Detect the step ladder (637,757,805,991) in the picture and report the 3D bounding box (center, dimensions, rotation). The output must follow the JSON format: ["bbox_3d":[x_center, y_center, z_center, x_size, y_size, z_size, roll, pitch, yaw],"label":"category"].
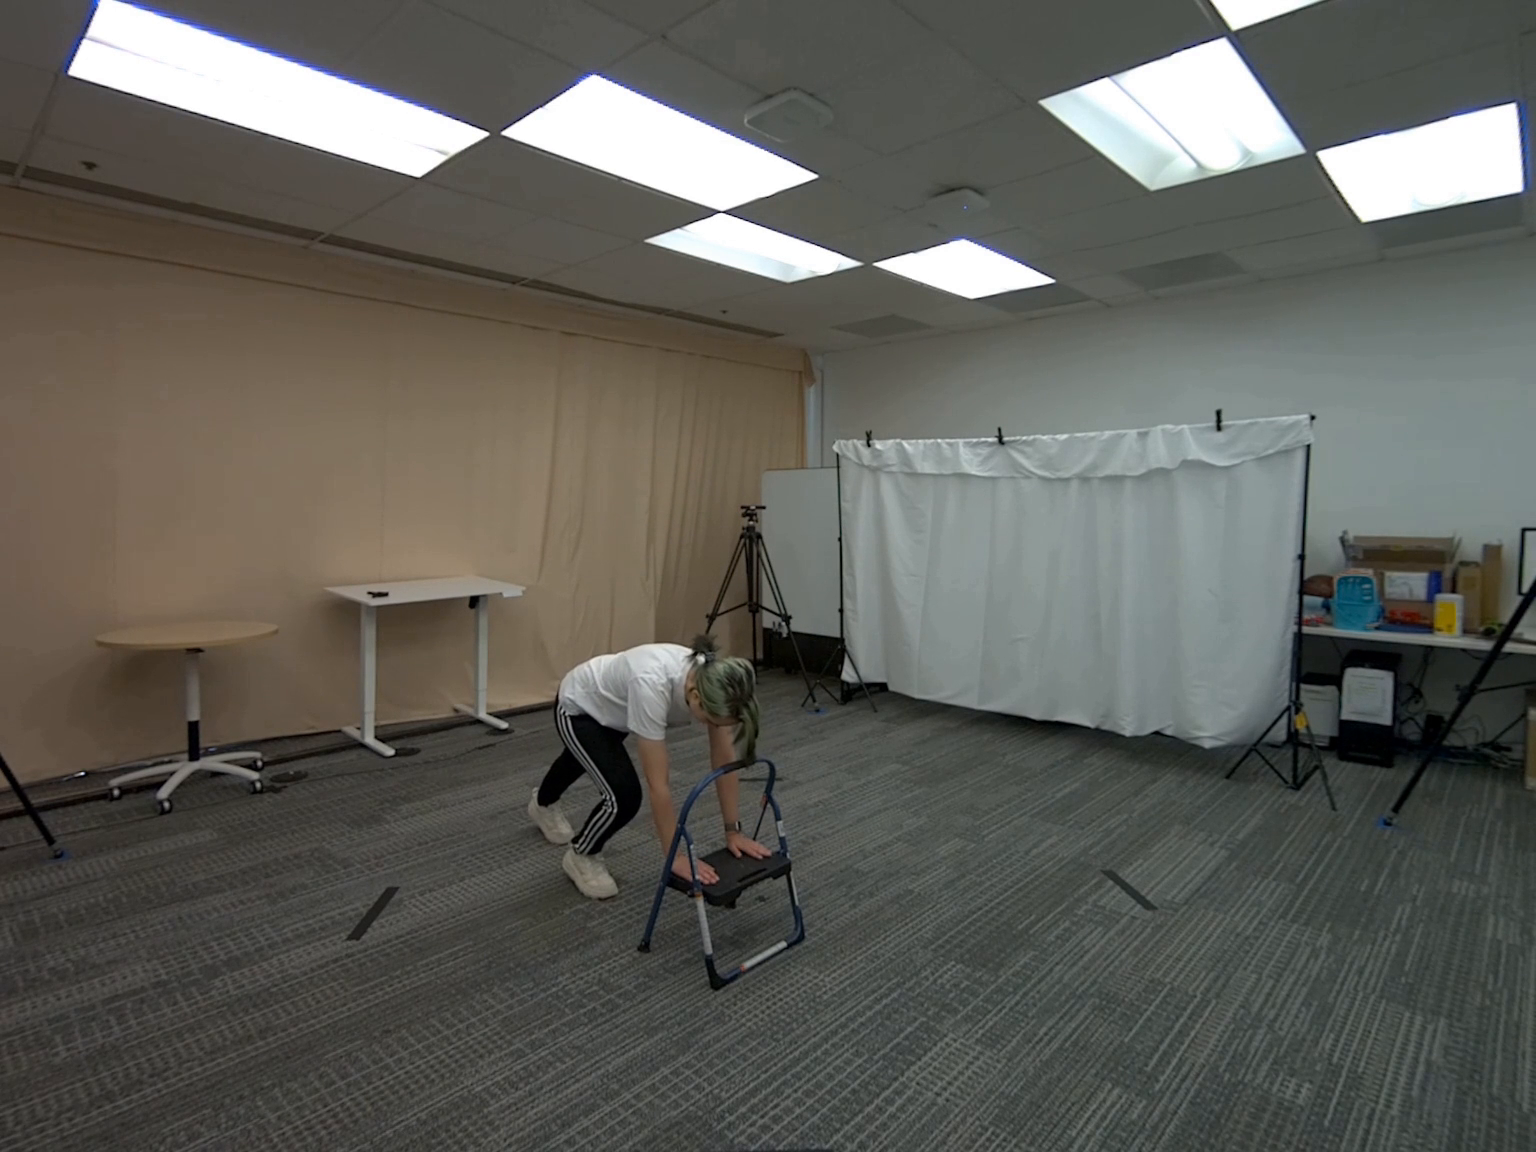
[{"bbox_3d":[-0.140,0.869,2.661,0.361,0.605,0.417,3,5,42],"label":"step ladder"}]
